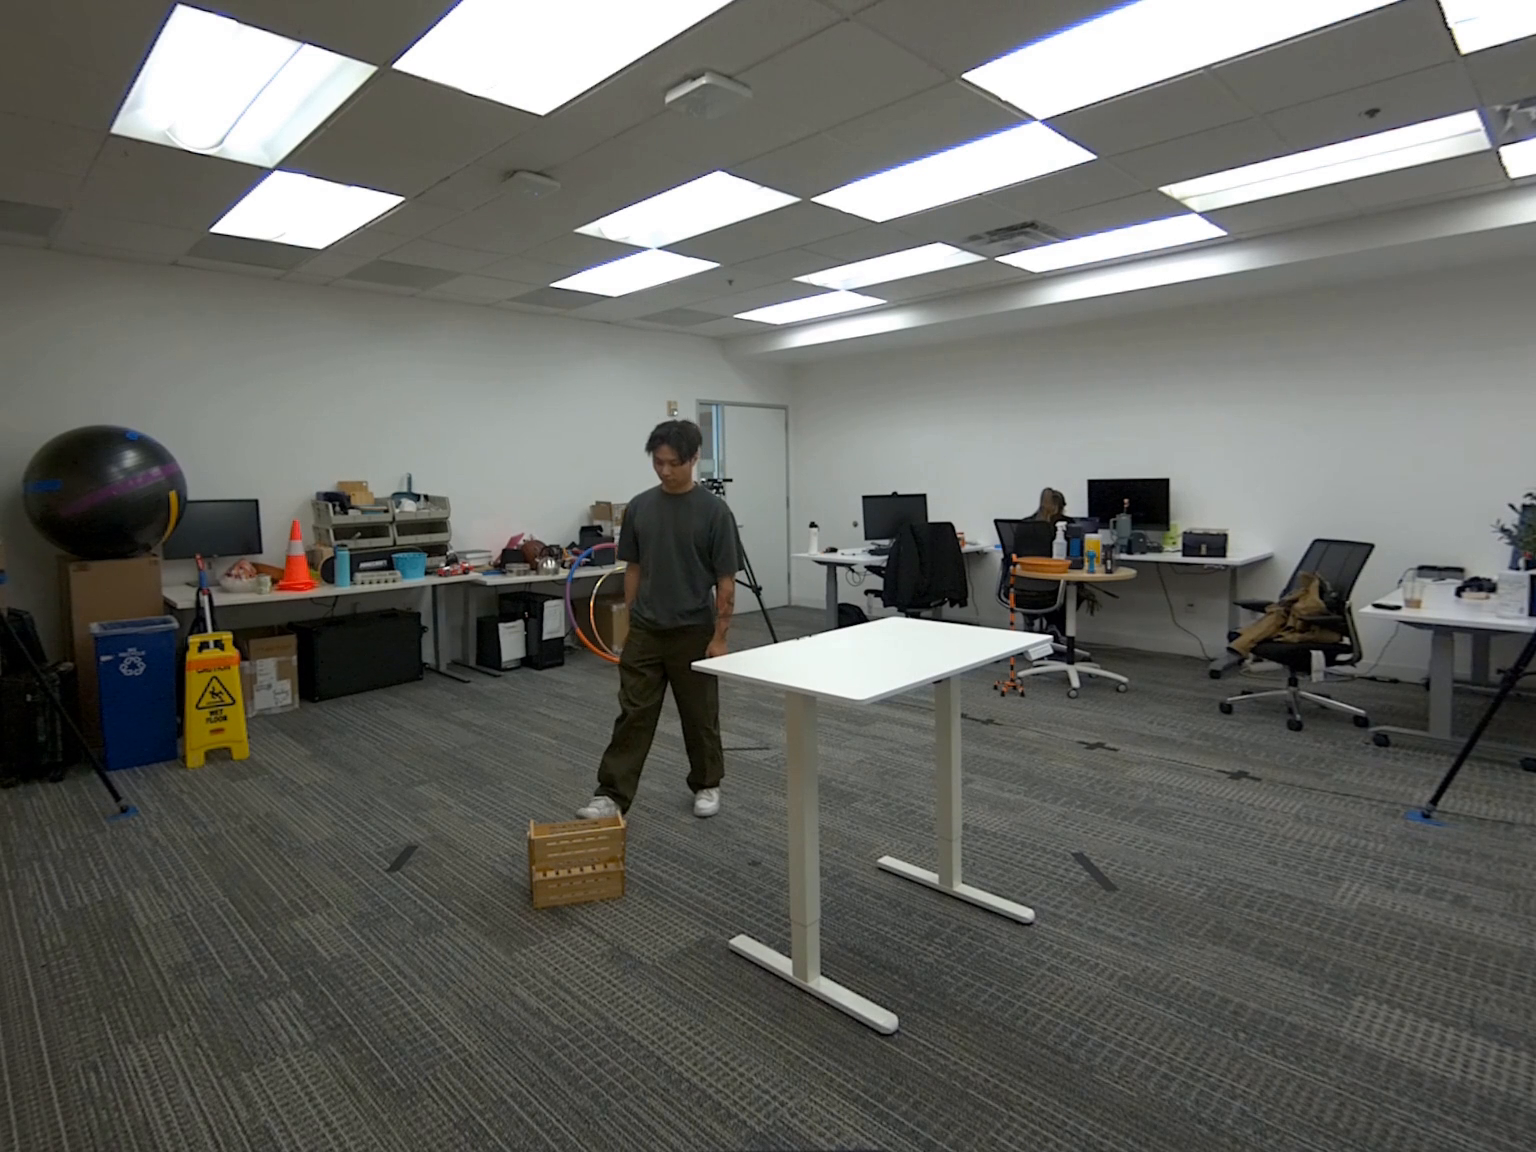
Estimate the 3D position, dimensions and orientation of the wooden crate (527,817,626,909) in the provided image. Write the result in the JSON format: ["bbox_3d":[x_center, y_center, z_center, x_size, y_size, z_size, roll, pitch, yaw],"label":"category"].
[{"bbox_3d":[-0.665,0.948,2.943,0.320,0.272,0.308,-3,6,-16],"label":"wooden crate"}]
